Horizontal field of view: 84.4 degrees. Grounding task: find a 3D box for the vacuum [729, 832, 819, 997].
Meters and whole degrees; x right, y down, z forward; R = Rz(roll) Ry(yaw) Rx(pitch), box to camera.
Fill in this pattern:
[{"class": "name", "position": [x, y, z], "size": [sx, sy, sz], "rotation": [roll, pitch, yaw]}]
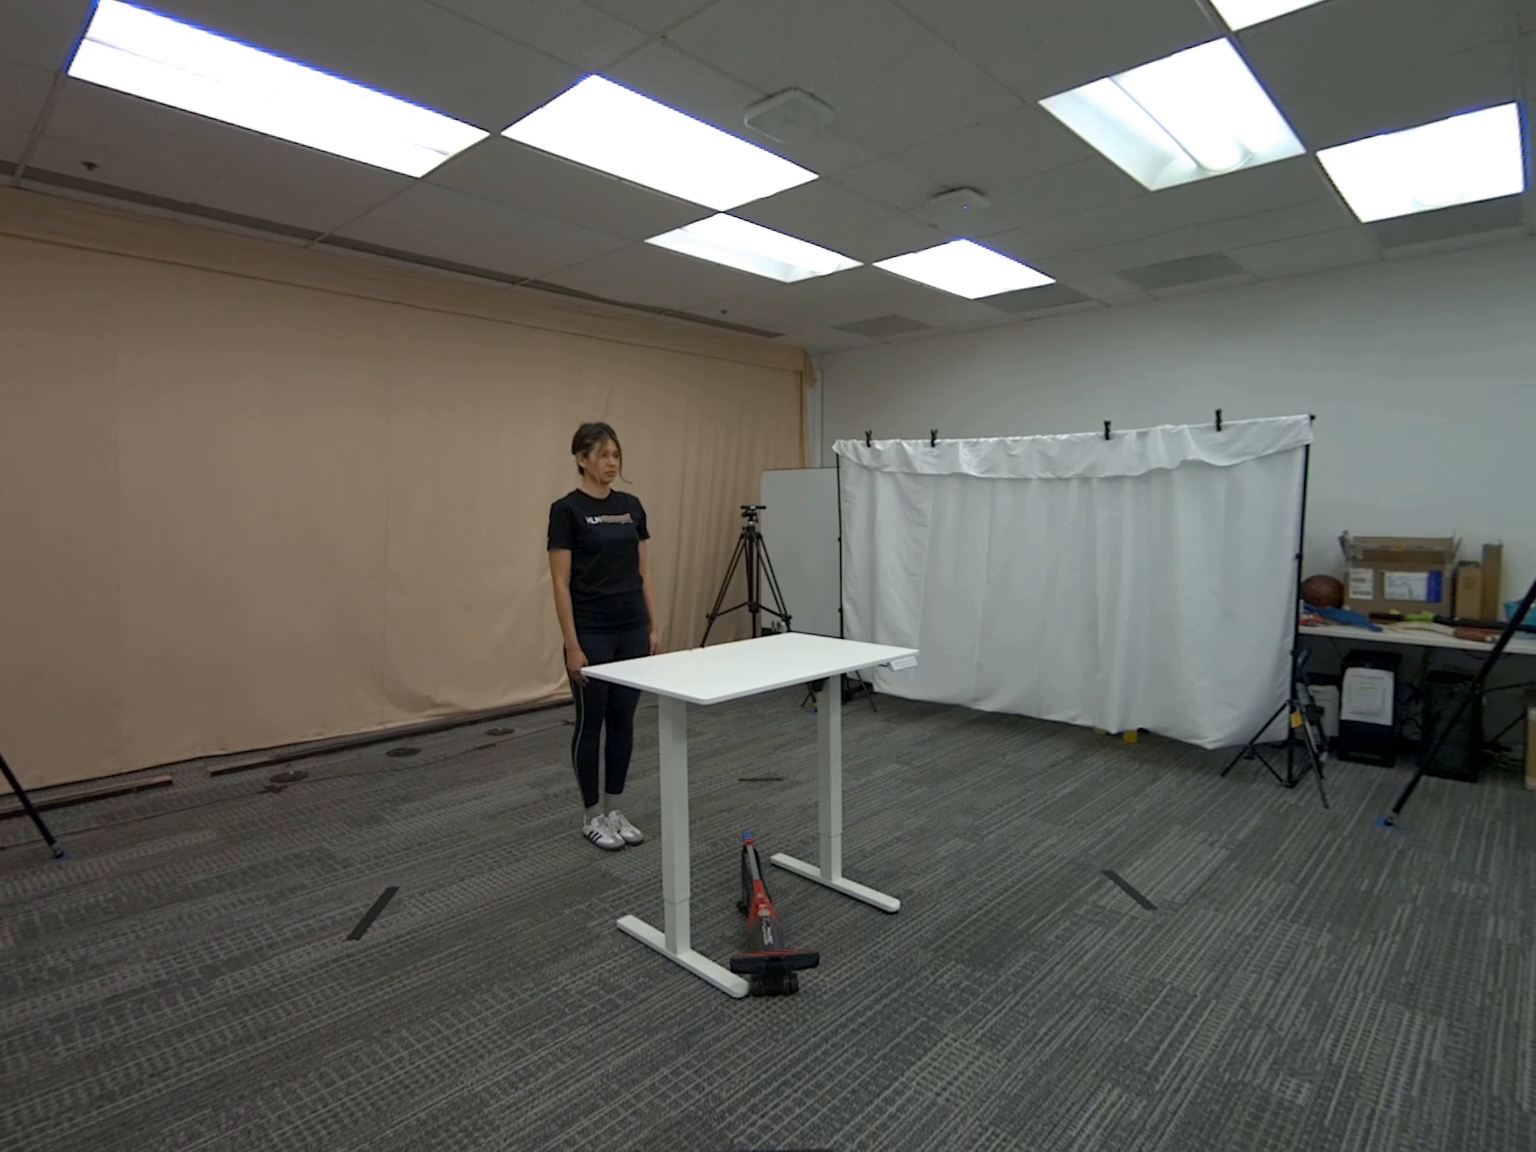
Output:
[{"class": "vacuum", "position": [-0.039, 1.086, 2.885], "size": [0.251, 0.144, 1.056], "rotation": [-2, 3, -7]}]
